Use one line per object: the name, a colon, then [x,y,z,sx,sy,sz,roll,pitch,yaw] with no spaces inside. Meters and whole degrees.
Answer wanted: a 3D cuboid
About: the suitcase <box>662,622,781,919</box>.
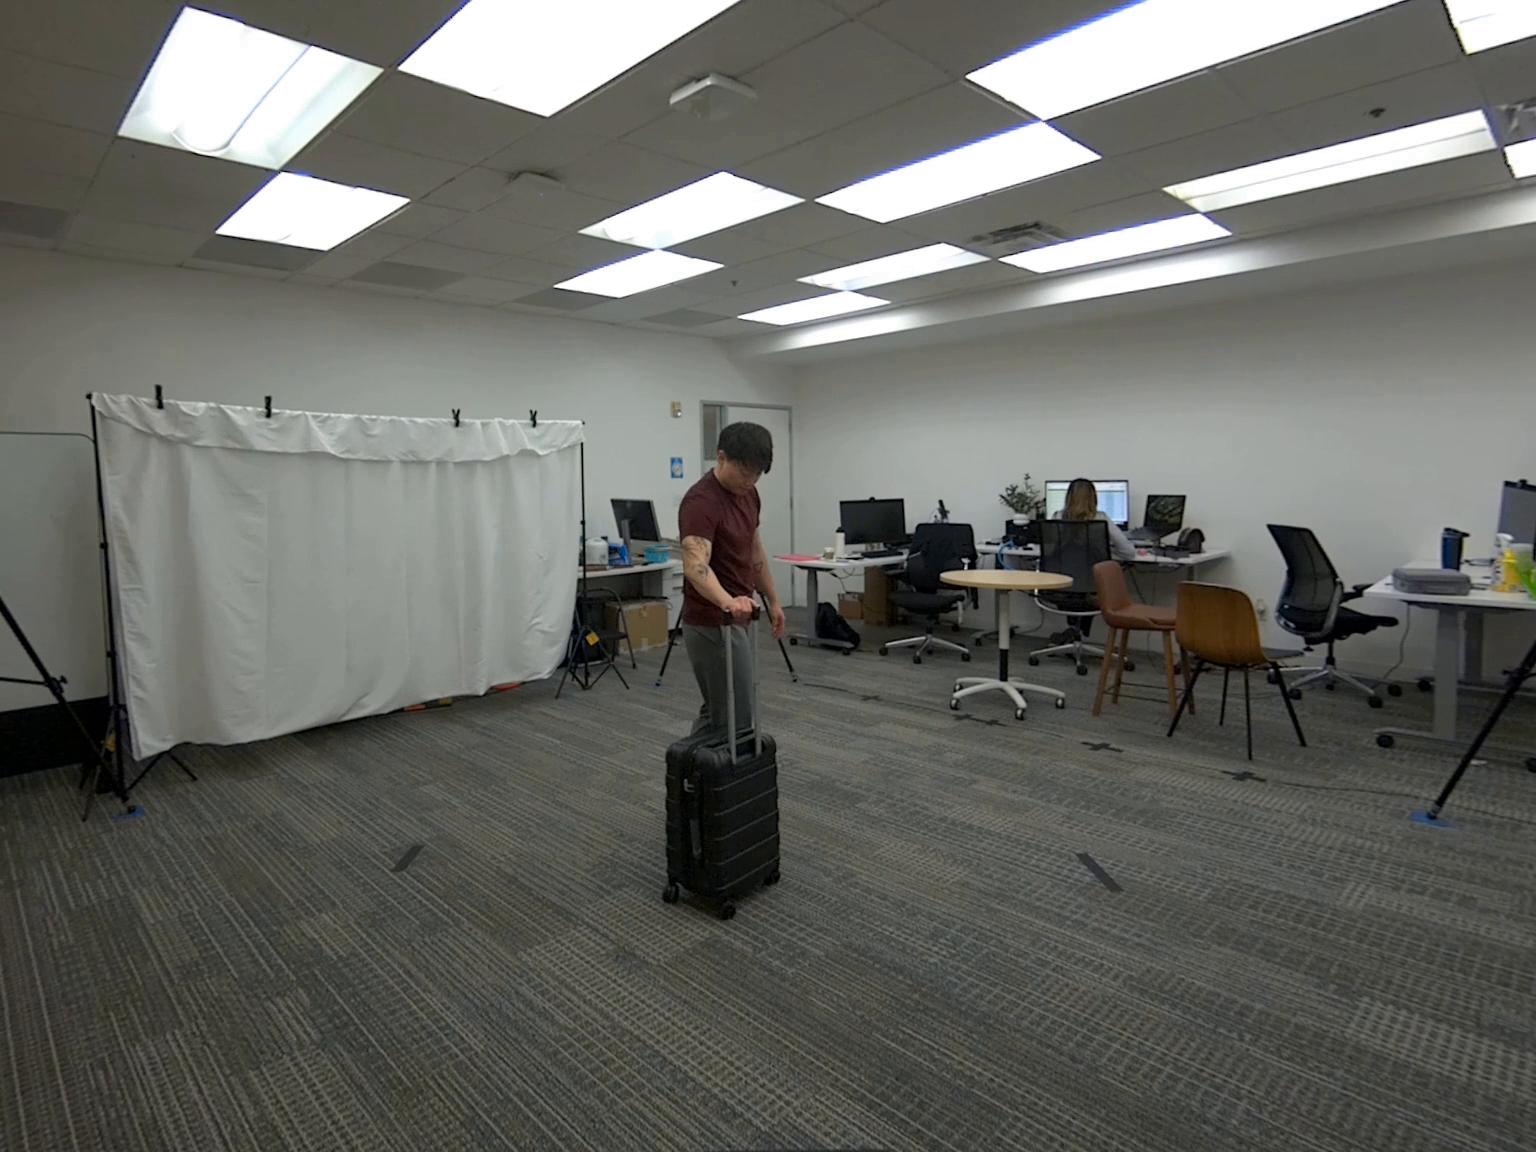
suitcase: [-0.160,0.603,2.874,0.264,0.975,0.374,0,4,37]
